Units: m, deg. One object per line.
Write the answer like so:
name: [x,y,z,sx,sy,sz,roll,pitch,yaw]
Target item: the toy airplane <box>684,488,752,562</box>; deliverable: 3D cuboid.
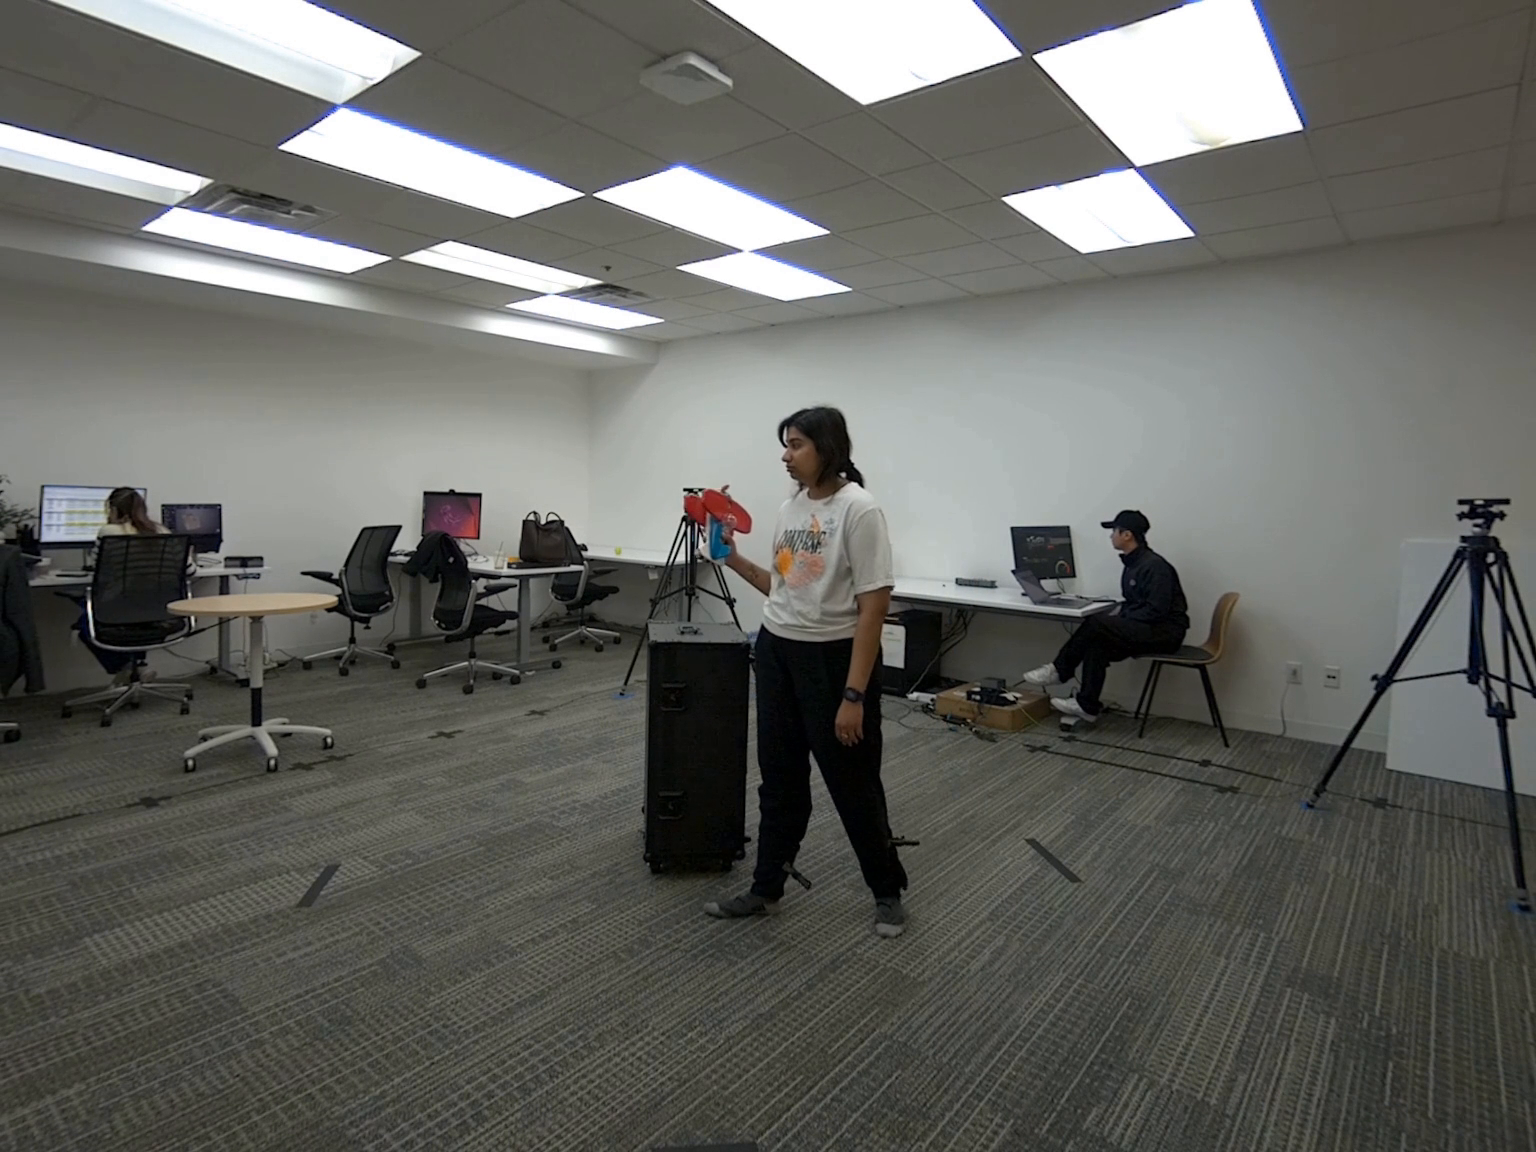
toy airplane: [-0.172,-0.161,2.855,0.158,0.262,0.245,-29,-9,28]
